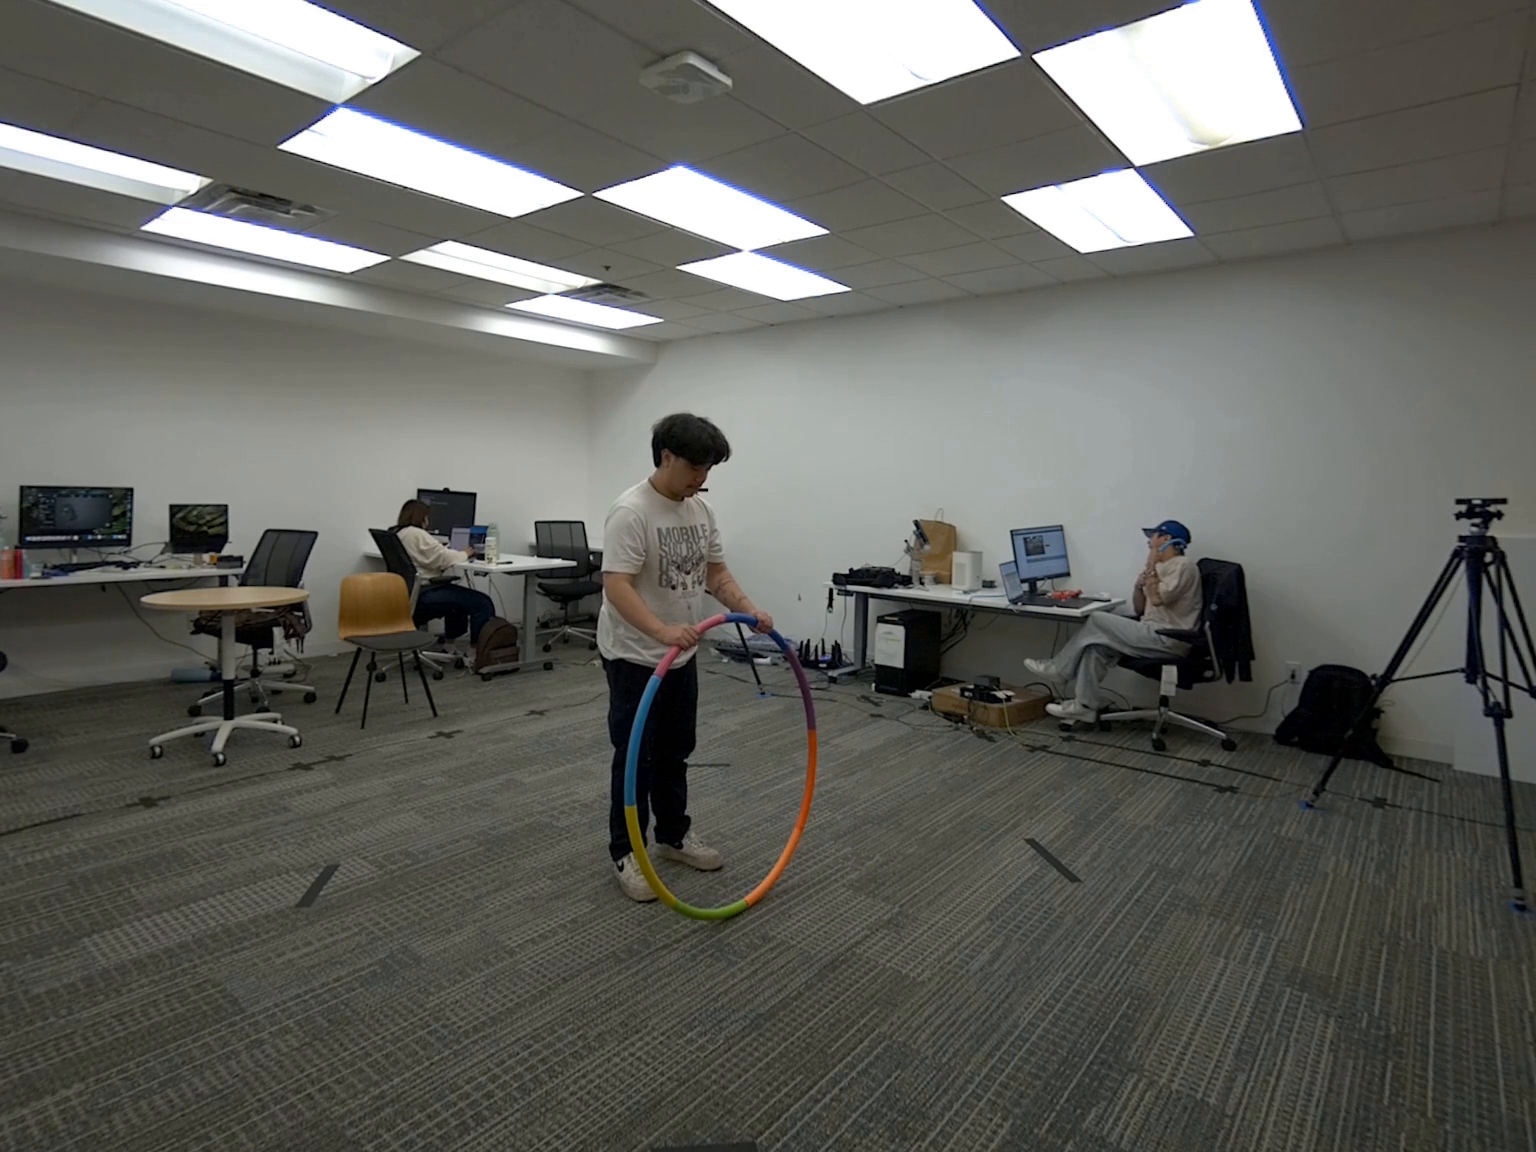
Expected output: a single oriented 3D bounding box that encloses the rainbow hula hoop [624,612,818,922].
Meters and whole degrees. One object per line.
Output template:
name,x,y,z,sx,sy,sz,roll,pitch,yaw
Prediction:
rainbow hula hoop,-0.119,0.615,2.820,0.053,0.986,0.957,-5,-1,38
